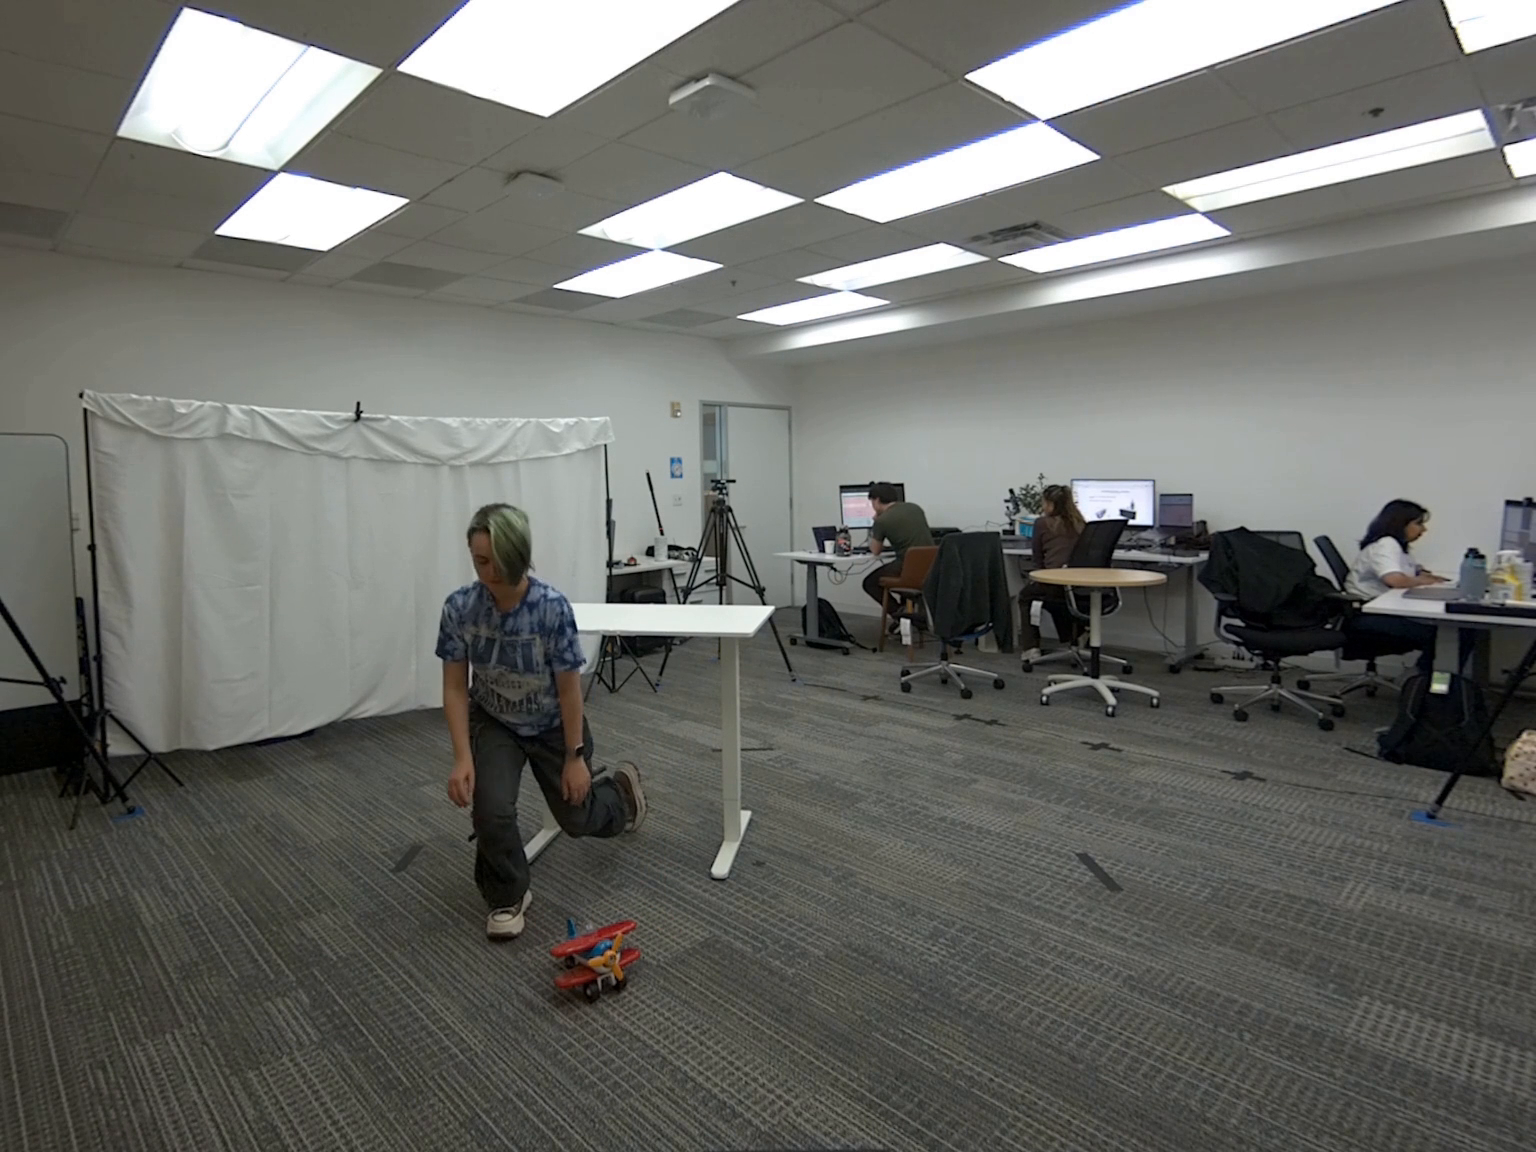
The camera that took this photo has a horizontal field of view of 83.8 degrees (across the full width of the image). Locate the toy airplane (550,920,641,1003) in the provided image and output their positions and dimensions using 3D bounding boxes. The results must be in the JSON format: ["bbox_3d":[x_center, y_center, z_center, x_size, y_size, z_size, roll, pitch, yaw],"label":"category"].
[{"bbox_3d":[-0.507,1.066,2.385,0.265,0.156,0.246,3,7,25],"label":"toy airplane"}]
